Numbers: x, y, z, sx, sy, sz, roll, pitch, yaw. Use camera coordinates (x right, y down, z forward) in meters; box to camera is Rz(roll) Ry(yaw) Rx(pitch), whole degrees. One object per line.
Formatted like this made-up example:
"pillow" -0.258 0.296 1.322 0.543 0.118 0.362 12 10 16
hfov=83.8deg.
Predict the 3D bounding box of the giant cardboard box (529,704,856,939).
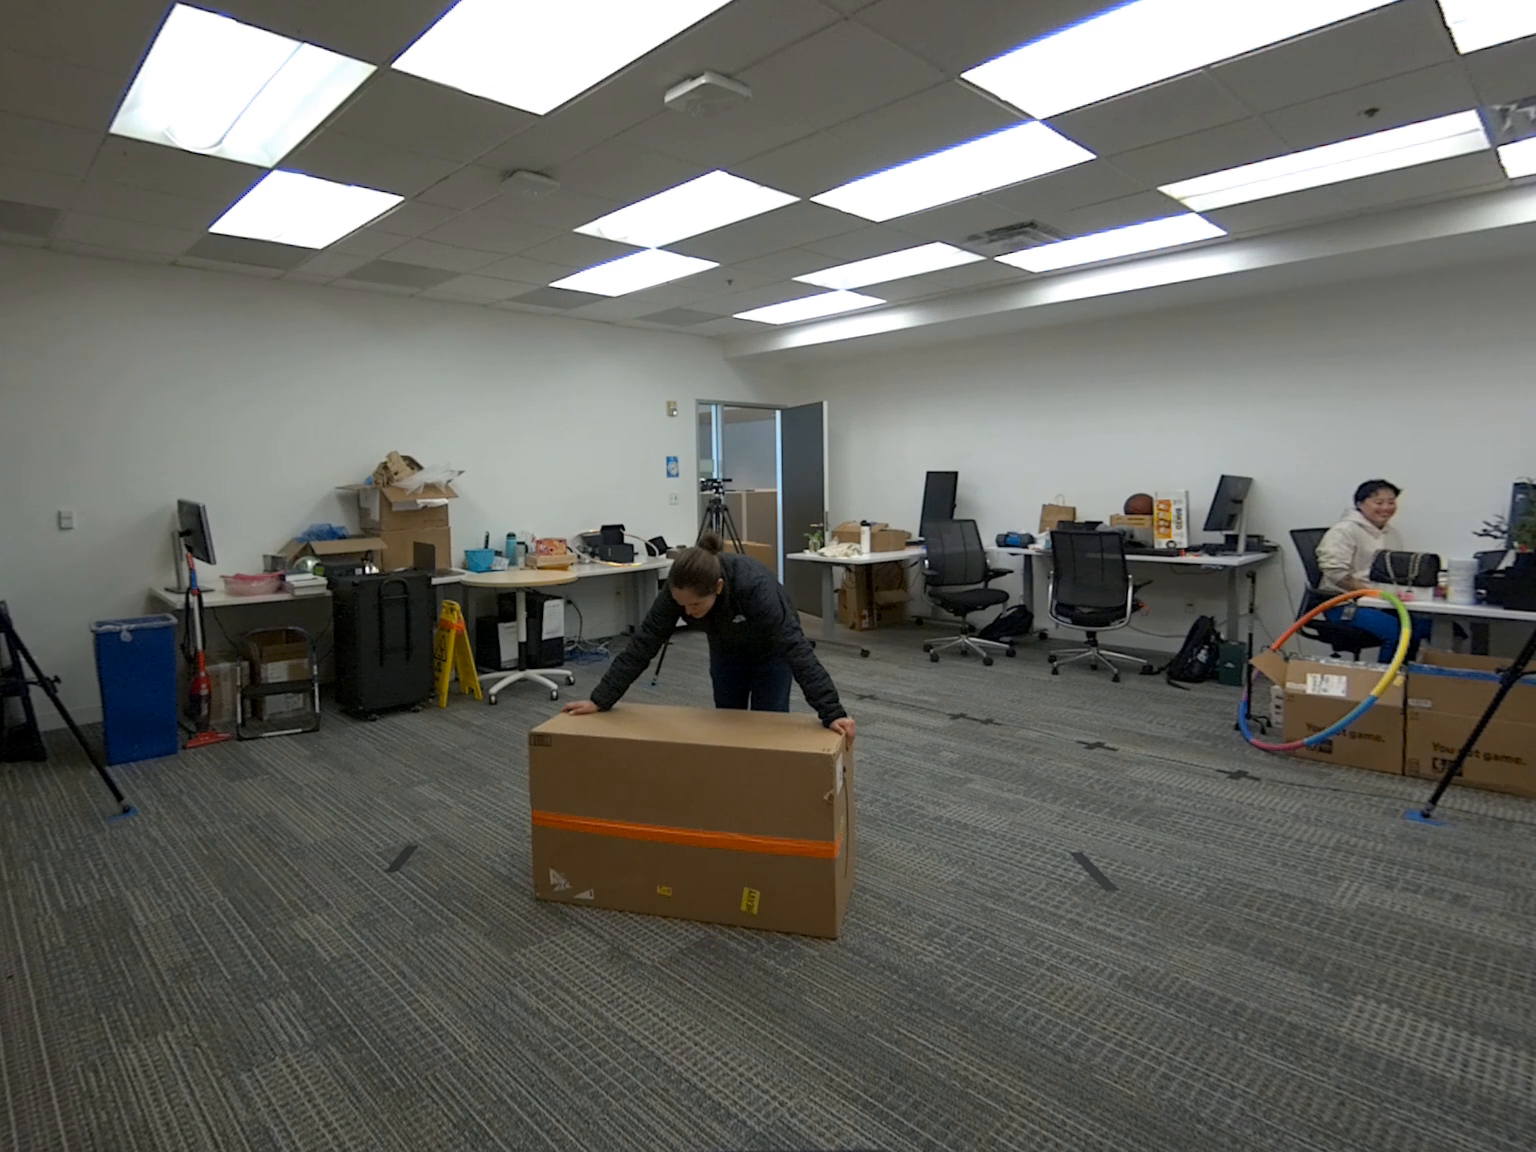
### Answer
"giant cardboard box" -0.246 0.782 2.910 1.043 0.583 0.441 1 3 16
